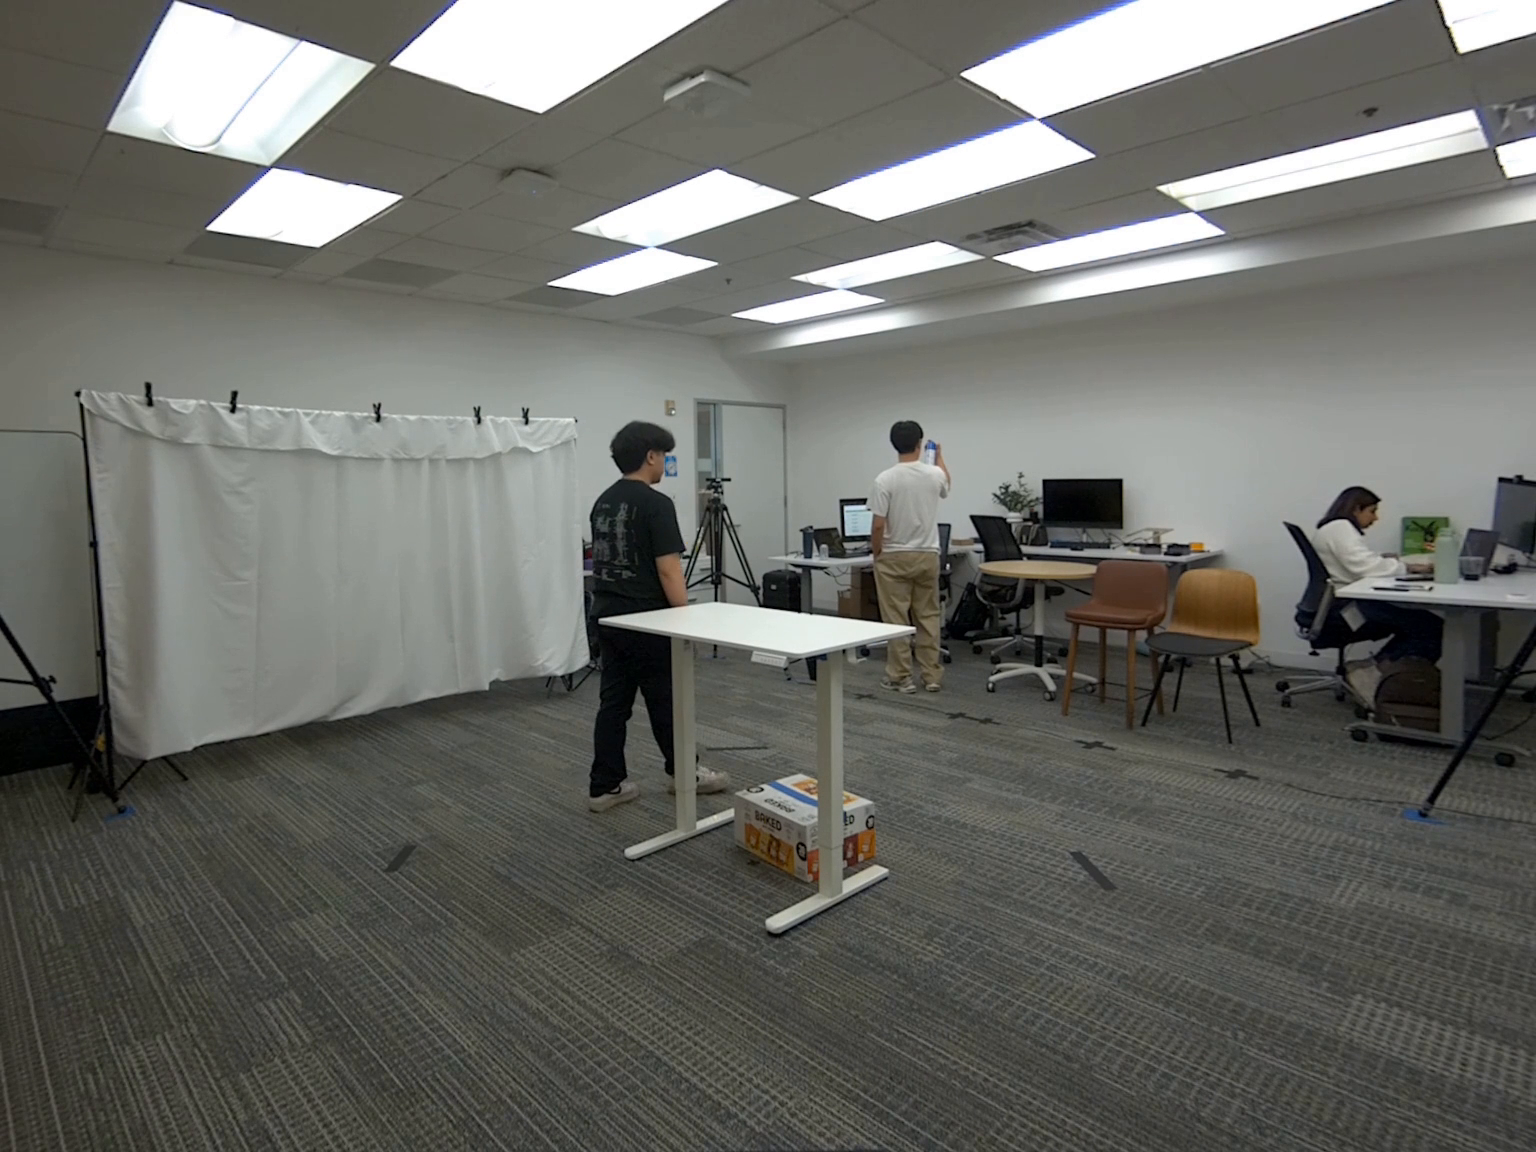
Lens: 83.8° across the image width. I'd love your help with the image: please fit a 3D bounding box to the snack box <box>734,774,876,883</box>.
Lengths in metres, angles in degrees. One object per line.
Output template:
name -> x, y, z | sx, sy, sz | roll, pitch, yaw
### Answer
snack box -> 0.133, 0.930, 3.190 | 0.331, 0.205, 0.417 | -5, 7, -38
